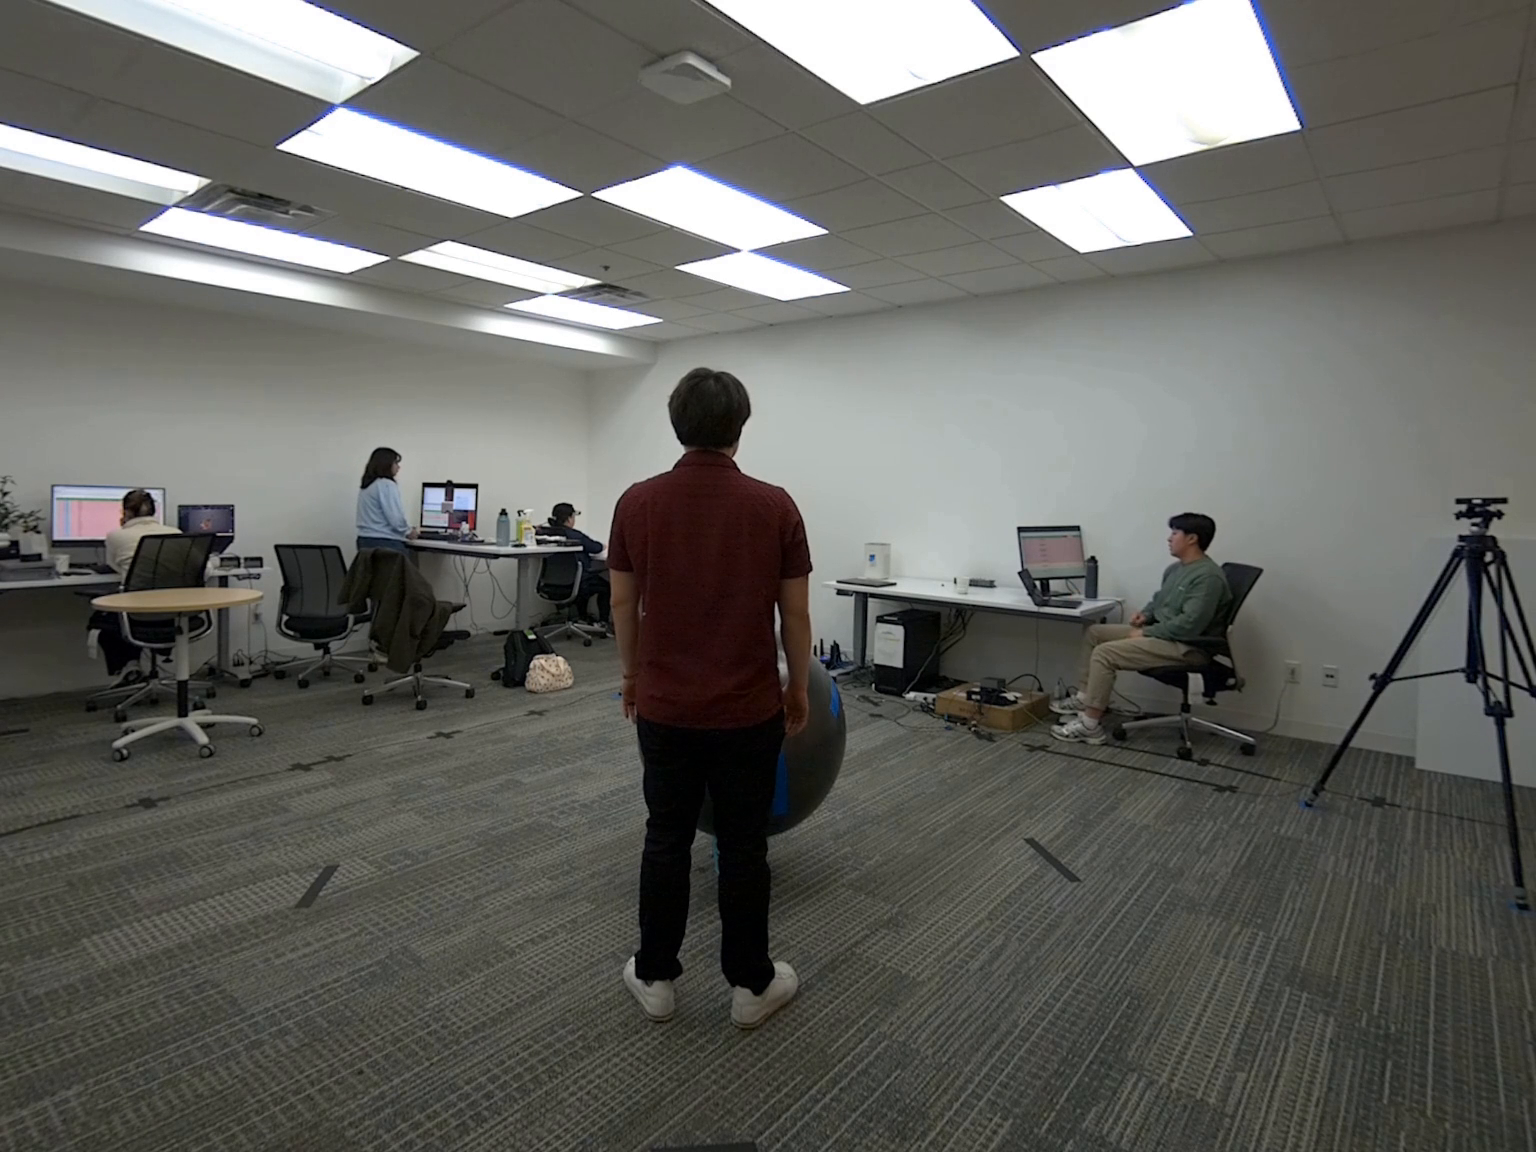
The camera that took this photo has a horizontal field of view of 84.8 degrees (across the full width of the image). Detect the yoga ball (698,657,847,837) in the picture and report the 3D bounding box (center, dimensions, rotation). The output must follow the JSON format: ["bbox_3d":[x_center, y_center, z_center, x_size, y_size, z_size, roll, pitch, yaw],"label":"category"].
[{"bbox_3d":[-0.108,0.556,3.100,0.757,0.756,0.762,1,4,-2],"label":"yoga ball"}]
